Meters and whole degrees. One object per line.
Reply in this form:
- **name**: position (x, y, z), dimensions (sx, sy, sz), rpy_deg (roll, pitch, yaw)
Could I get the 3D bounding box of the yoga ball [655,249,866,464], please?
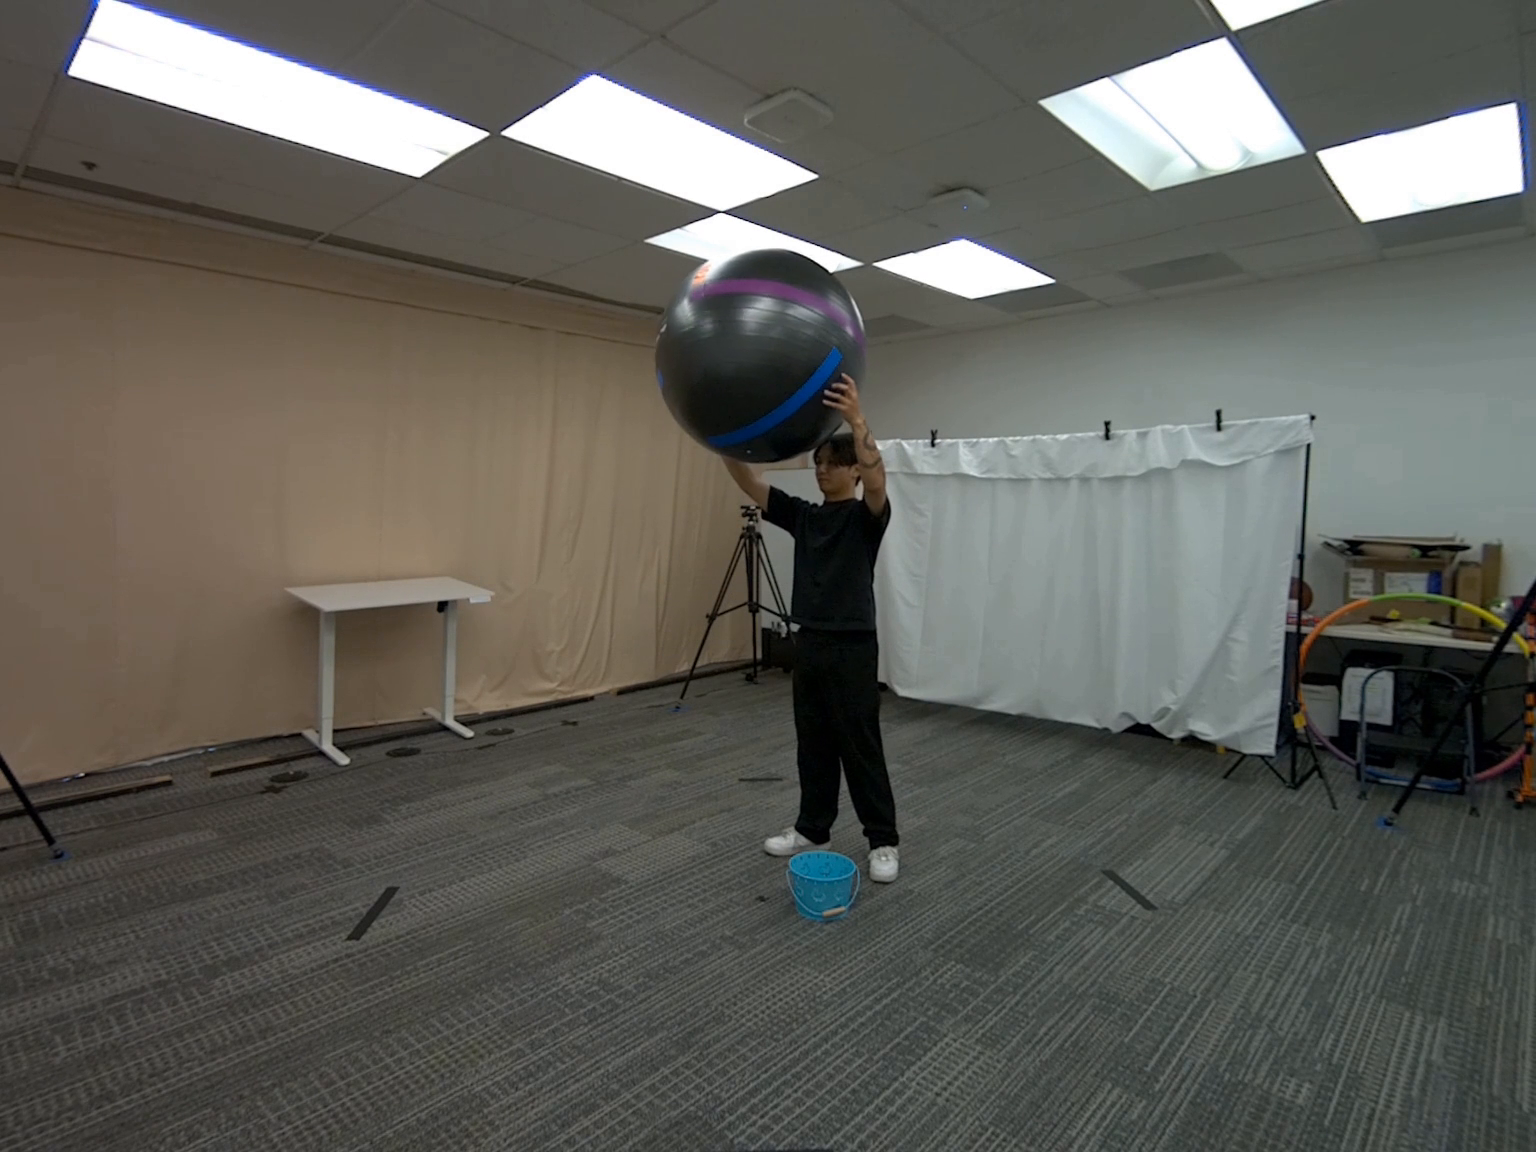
- **yoga ball**: position (-0.030, -0.780, 3.035), dimensions (0.757, 0.756, 0.760), rpy_deg (0, 4, -2)
